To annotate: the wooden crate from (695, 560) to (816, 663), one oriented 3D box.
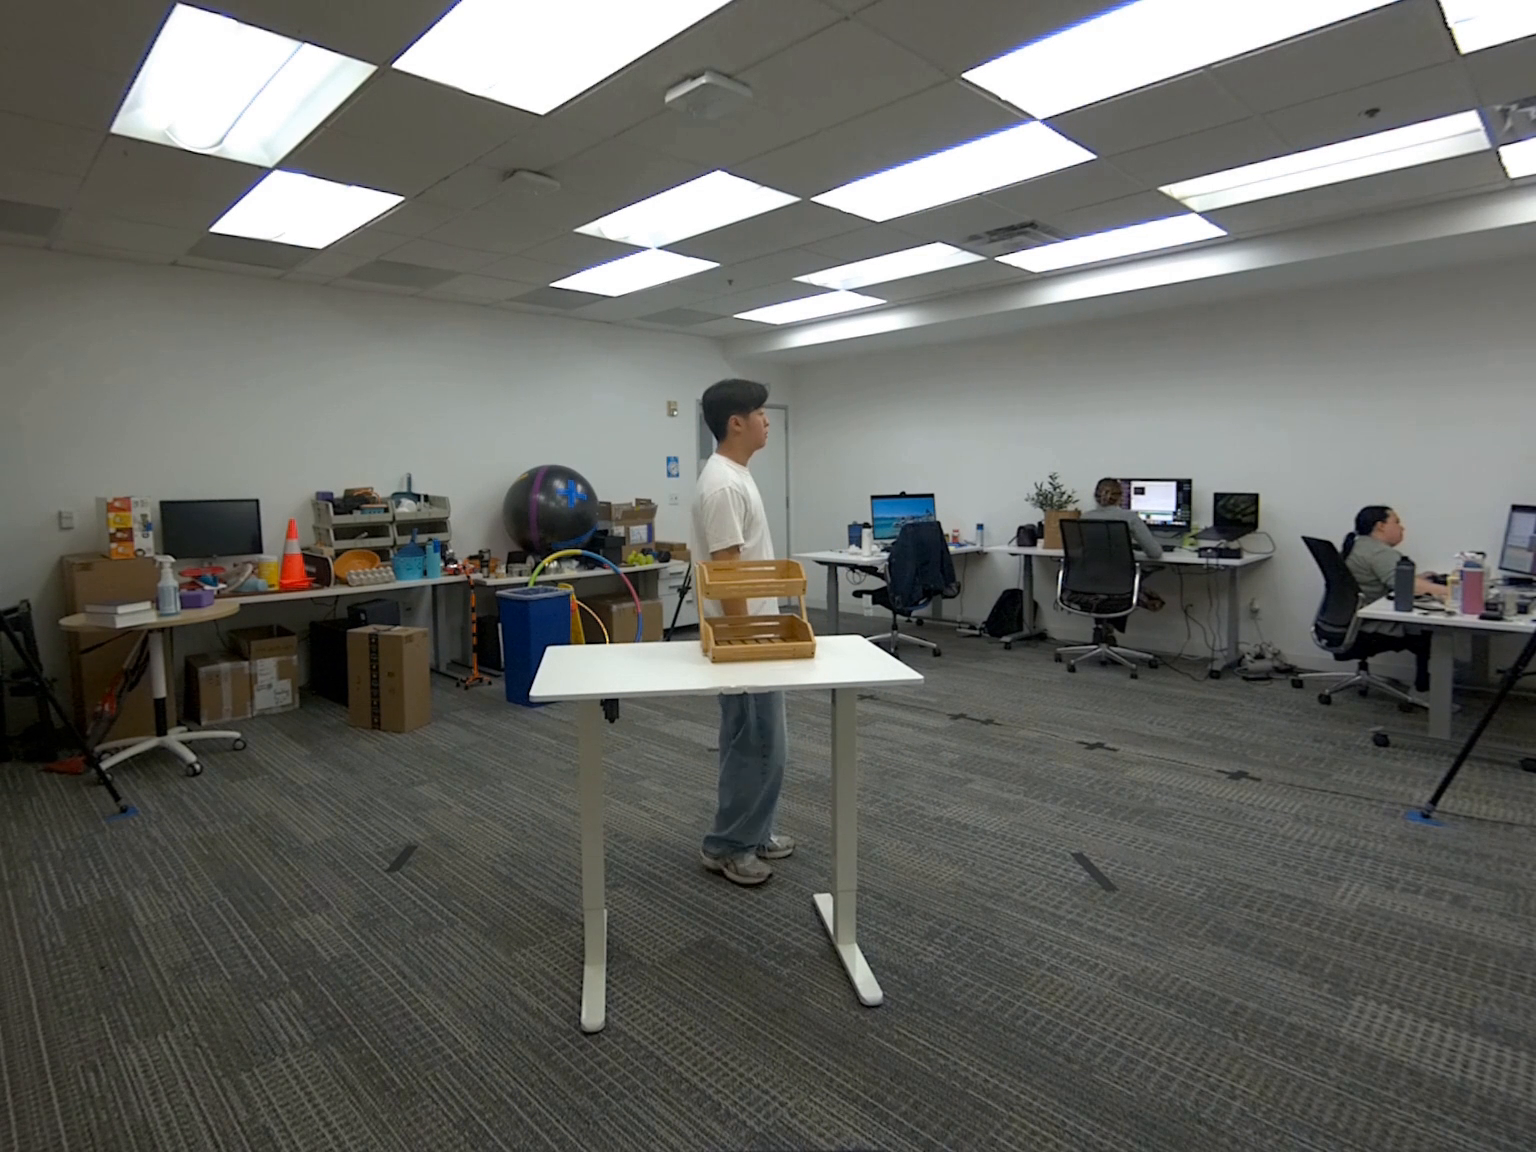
[{"bbox_3d":[-0.043,0.098,2.553,0.321,0.272,0.306,-1,5,-11],"label":"wooden crate"}]
